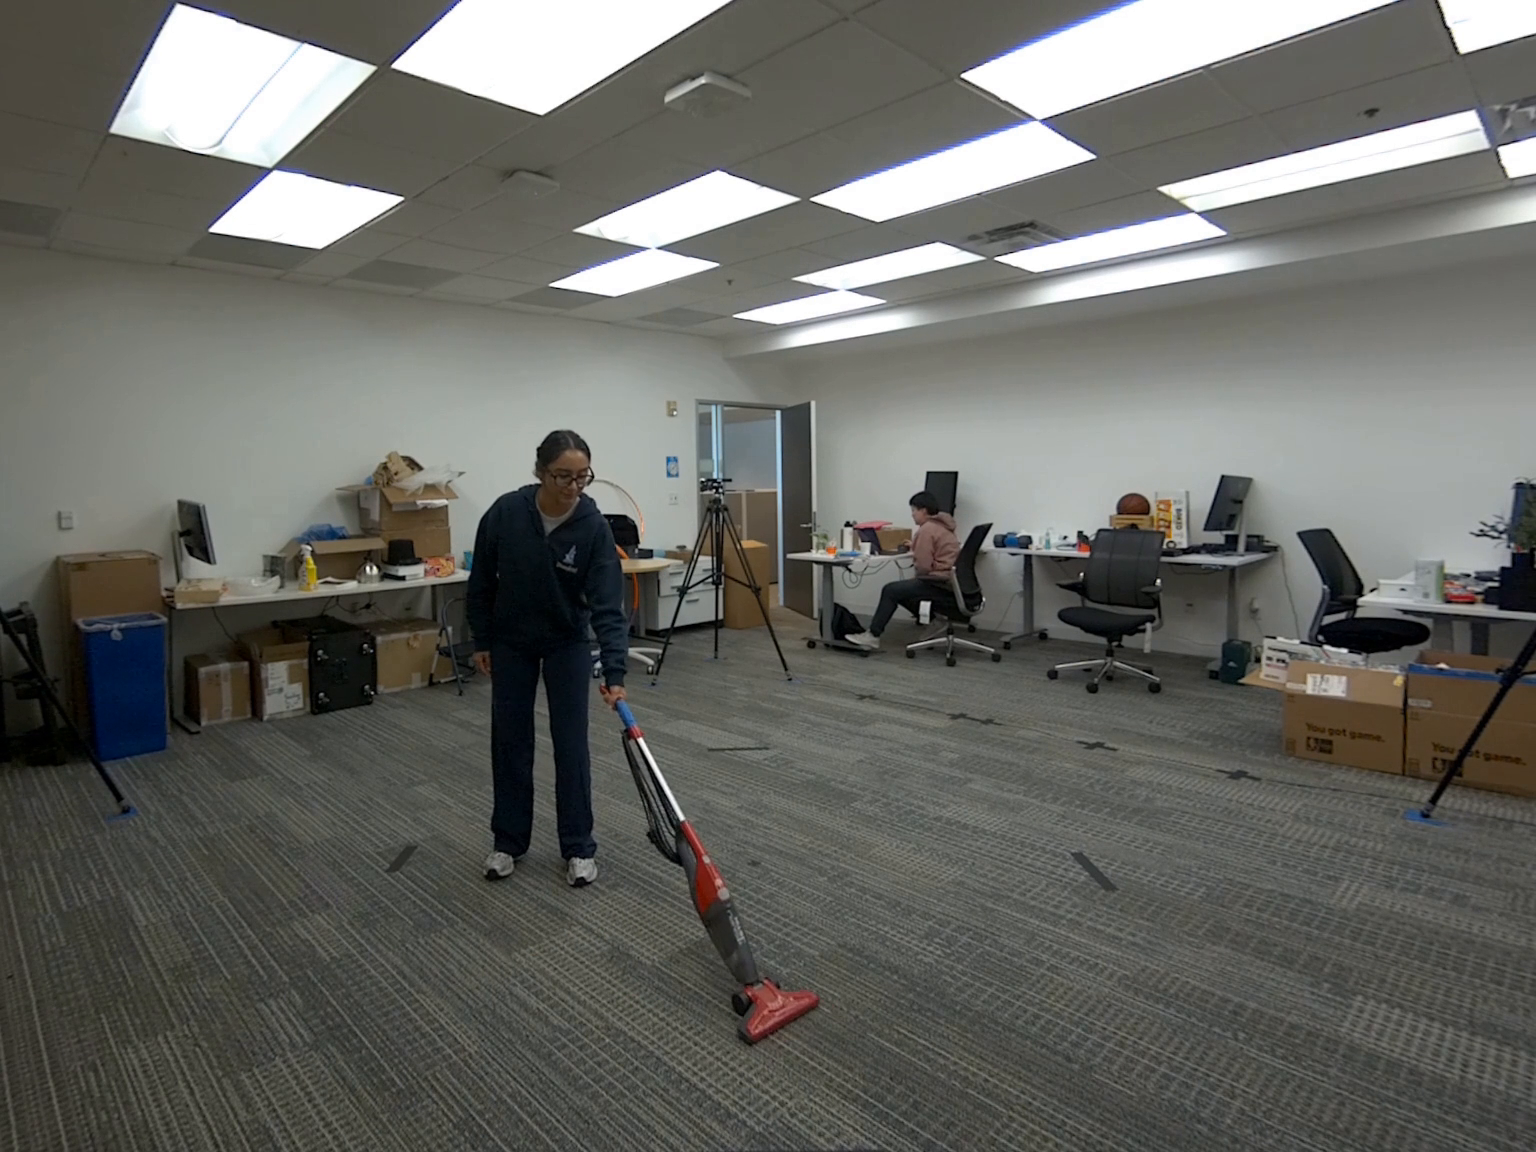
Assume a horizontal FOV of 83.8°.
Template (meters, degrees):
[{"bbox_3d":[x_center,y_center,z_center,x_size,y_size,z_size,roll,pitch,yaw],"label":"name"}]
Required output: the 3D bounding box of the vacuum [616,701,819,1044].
[{"bbox_3d":[-0.261,0.758,2.526,0.245,0.143,1.087,-2,45,-42],"label":"vacuum"}]
